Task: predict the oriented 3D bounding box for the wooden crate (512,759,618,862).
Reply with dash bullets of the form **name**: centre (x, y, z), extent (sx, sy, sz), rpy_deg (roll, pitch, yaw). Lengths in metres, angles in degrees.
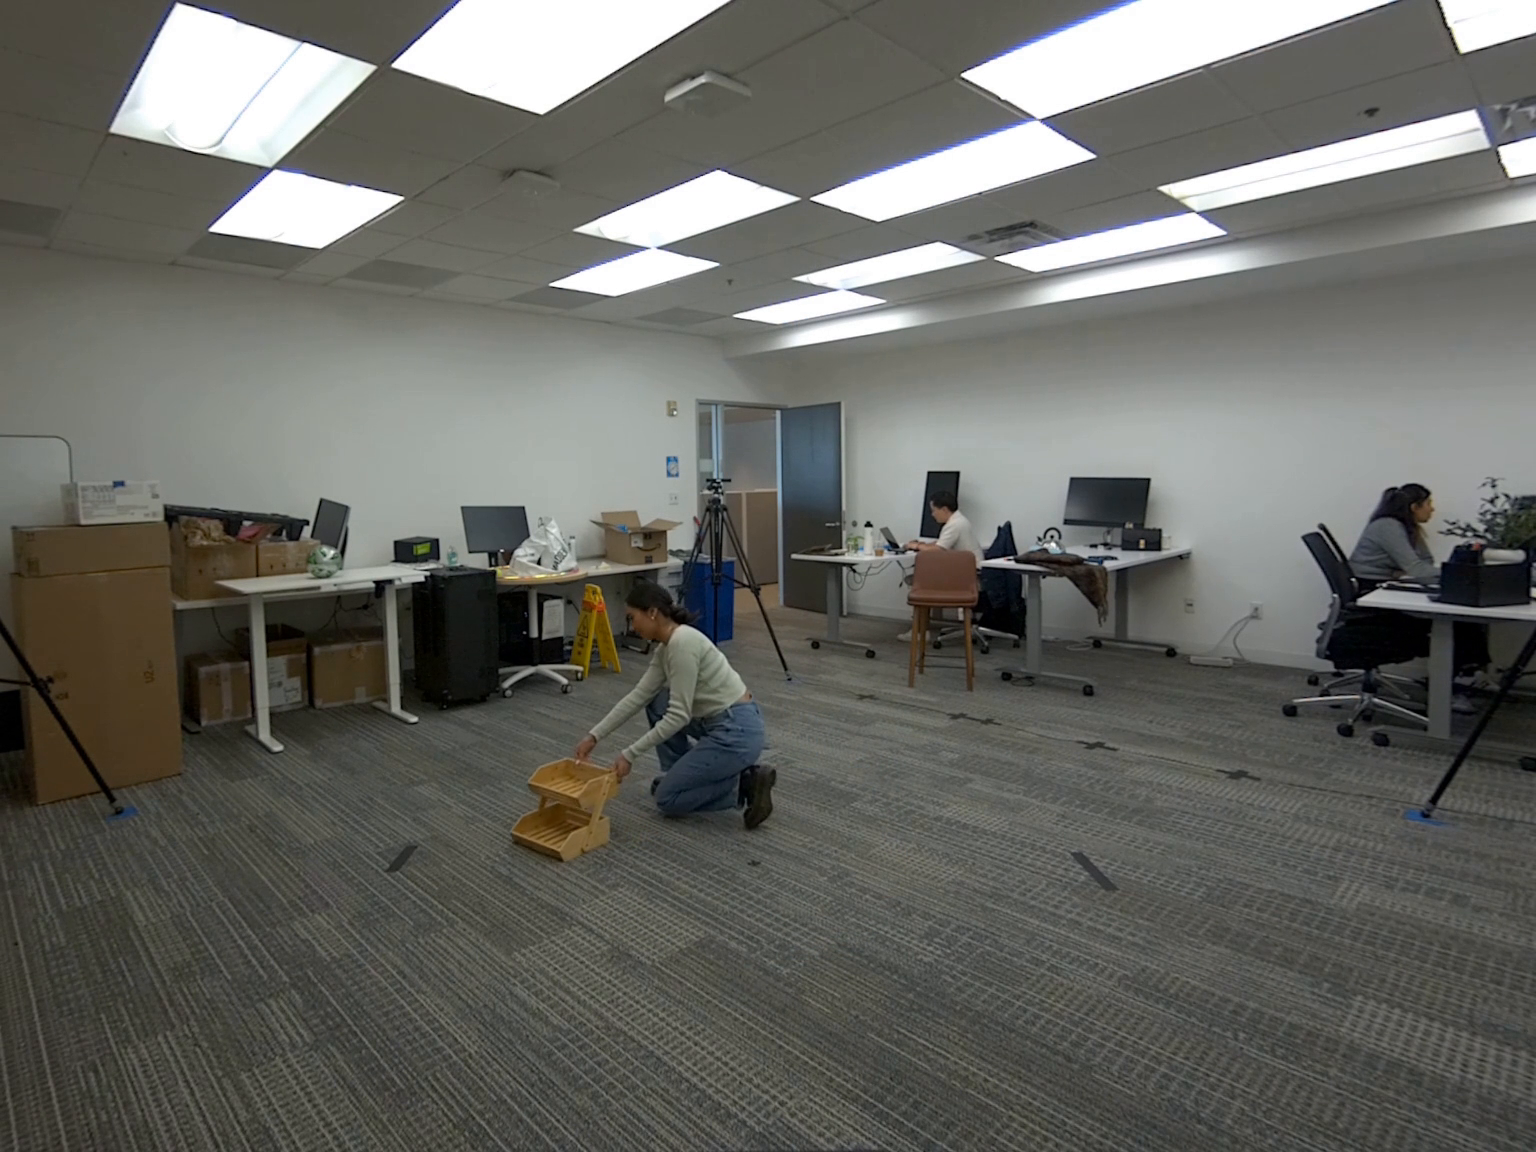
- **wooden crate**: centre (-0.796, 0.902, 3.330), extent (0.334, 0.272, 0.294), rpy_deg (2, 6, 38)
